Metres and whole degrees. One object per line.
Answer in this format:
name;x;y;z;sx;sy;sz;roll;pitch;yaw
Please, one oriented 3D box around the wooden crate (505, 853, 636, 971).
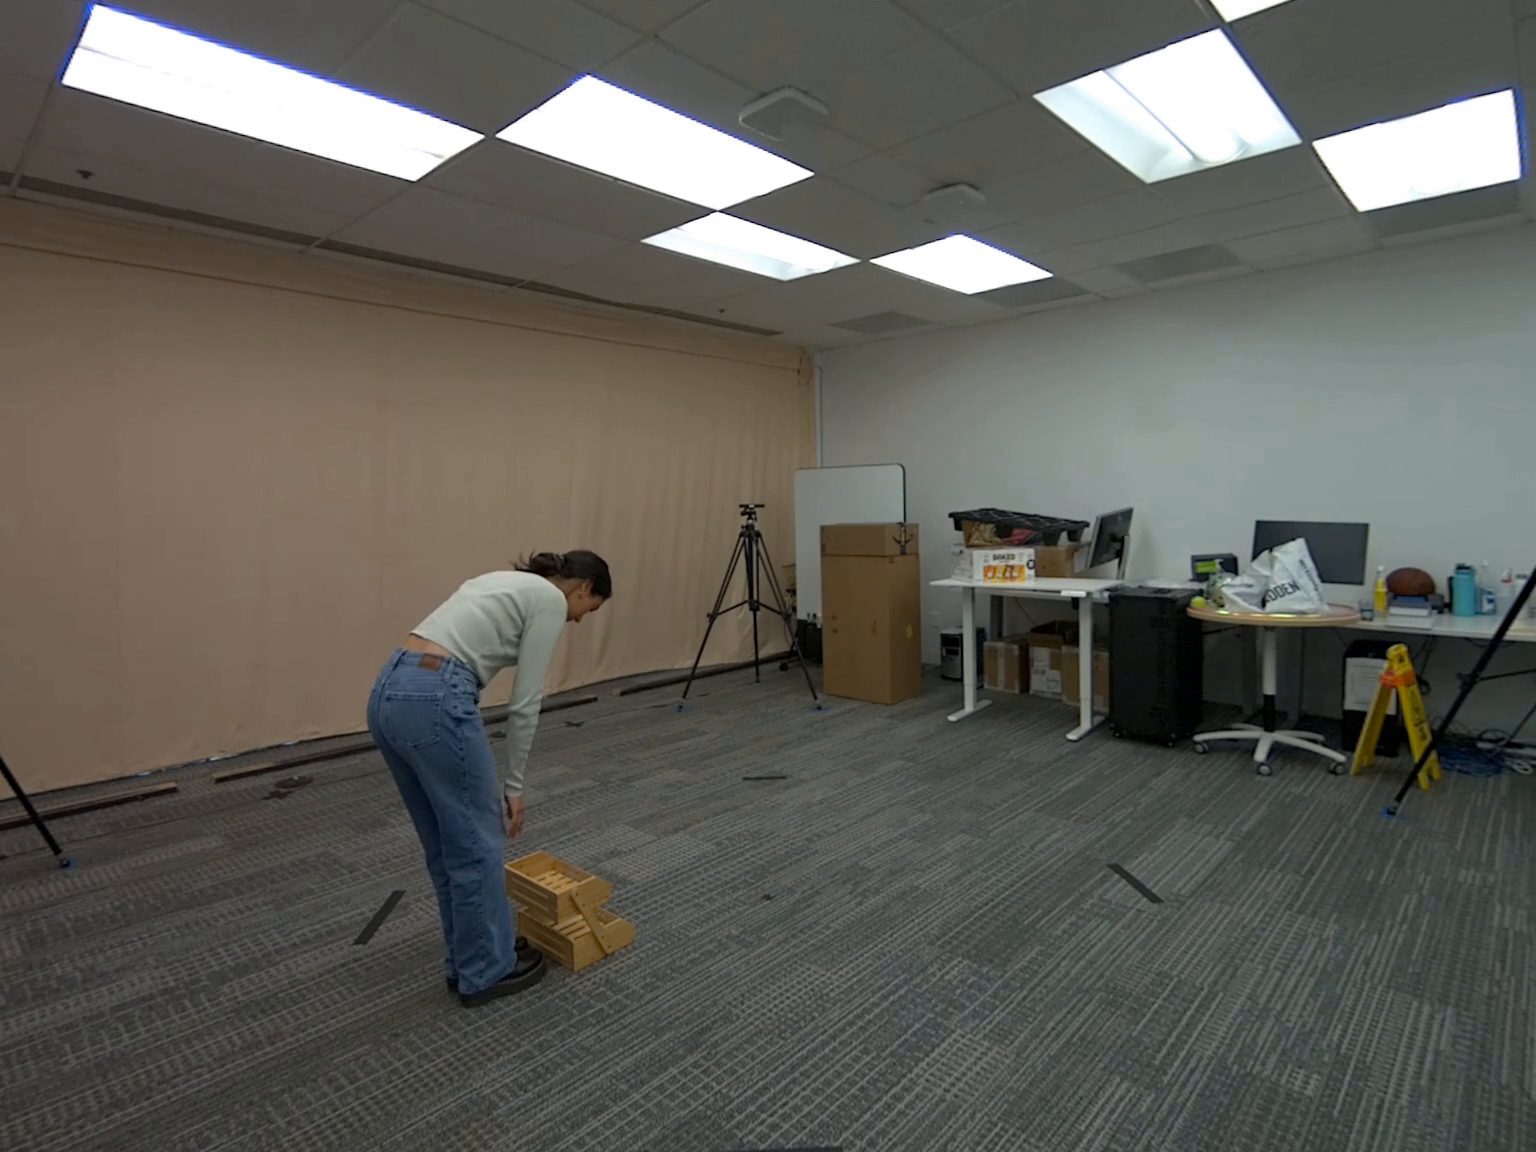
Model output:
wooden crate;-0.637;1.044;2.693;0.335;0.272;0.293;2;6;42
